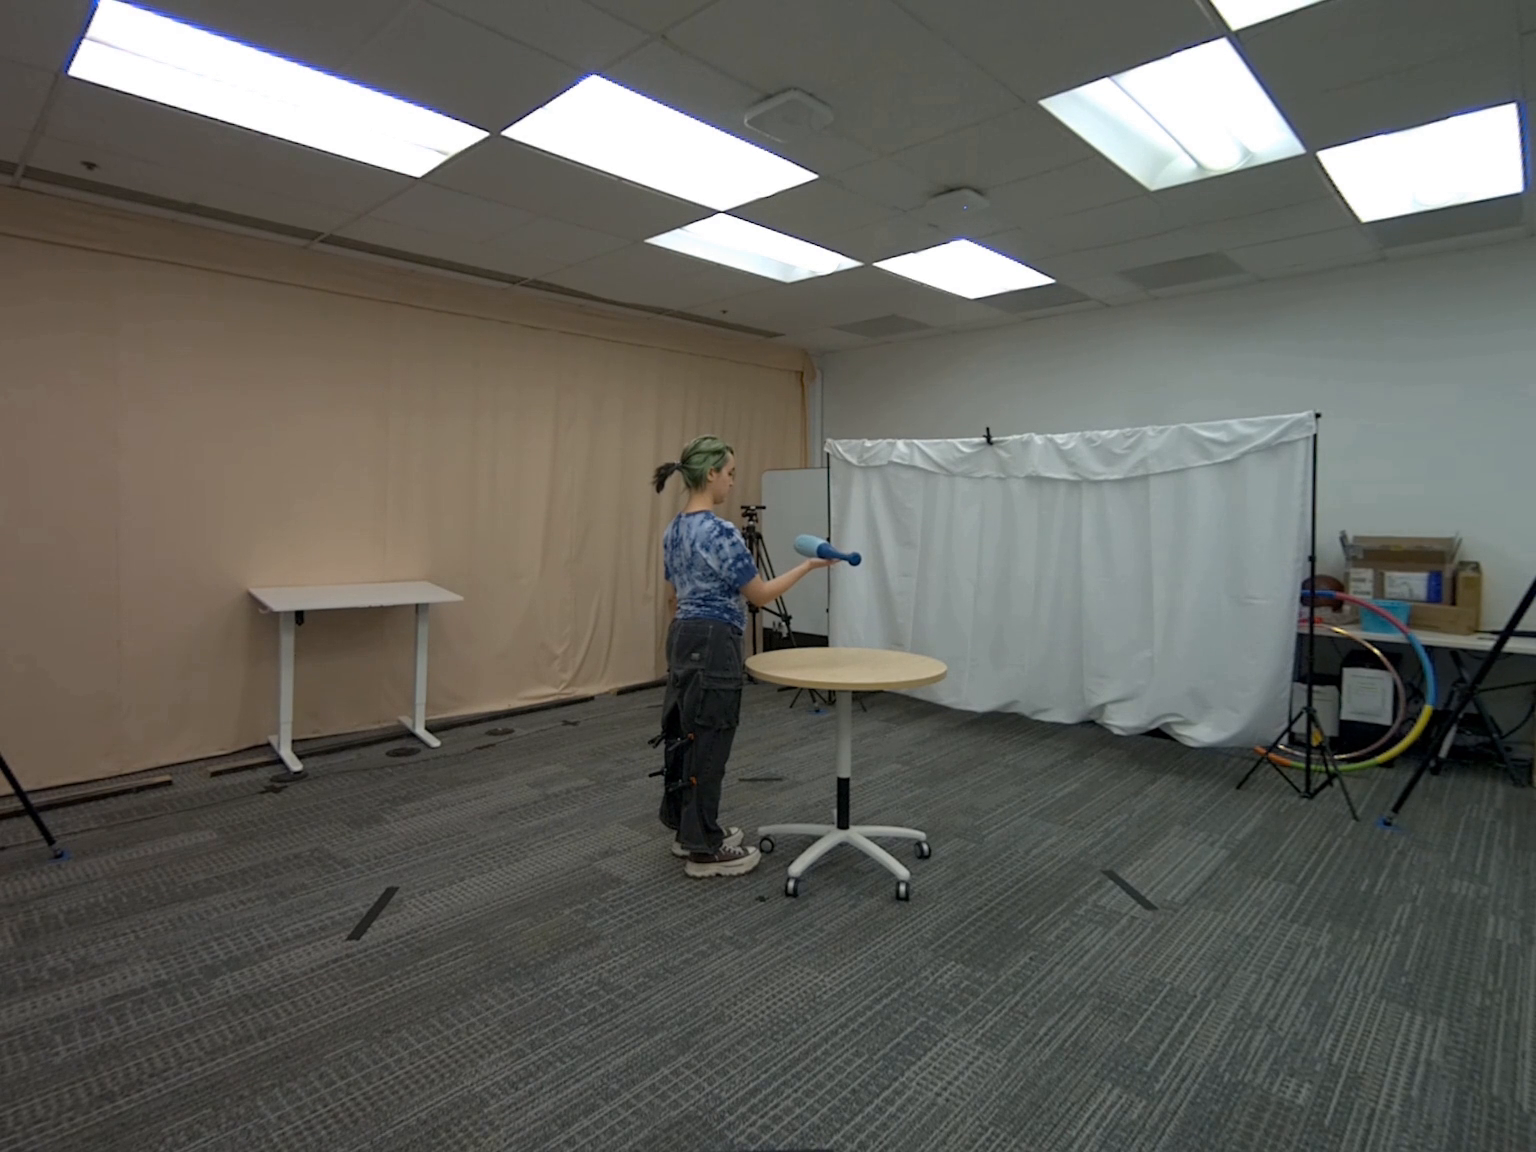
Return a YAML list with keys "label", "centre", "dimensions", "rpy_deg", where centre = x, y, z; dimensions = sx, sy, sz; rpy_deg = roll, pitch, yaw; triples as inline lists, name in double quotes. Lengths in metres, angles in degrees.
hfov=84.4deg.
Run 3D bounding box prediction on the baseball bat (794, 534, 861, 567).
- label: "baseball bat"
  centre: [0.224, -0.091, 3.225]
  dimensions: [0.088, 0.088, 0.553]
  rpy_deg: [-1, 8, -16]
